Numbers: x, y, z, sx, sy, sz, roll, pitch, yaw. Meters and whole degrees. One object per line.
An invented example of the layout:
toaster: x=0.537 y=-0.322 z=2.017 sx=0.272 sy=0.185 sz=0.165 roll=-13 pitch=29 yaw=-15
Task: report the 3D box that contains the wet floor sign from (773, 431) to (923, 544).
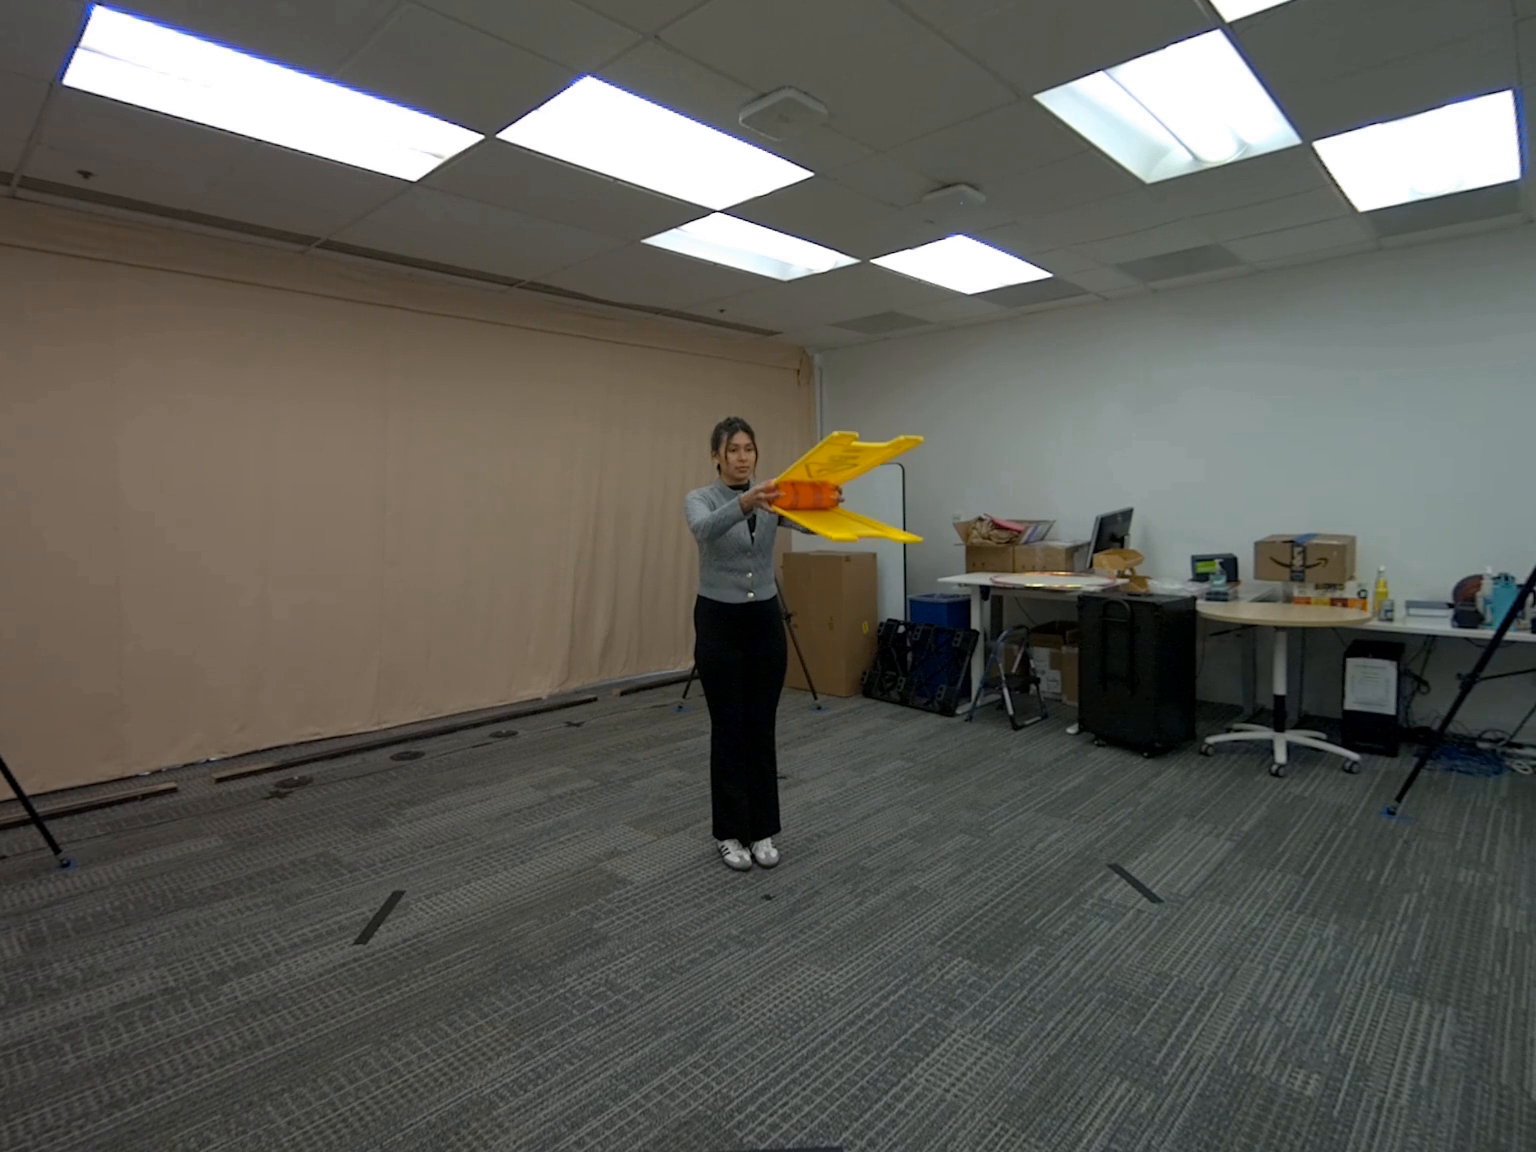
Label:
wet floor sign: x=0.189 y=-0.251 z=2.573 sx=0.277 sy=0.289 sz=0.659 roll=0 pitch=3 yaw=-20
